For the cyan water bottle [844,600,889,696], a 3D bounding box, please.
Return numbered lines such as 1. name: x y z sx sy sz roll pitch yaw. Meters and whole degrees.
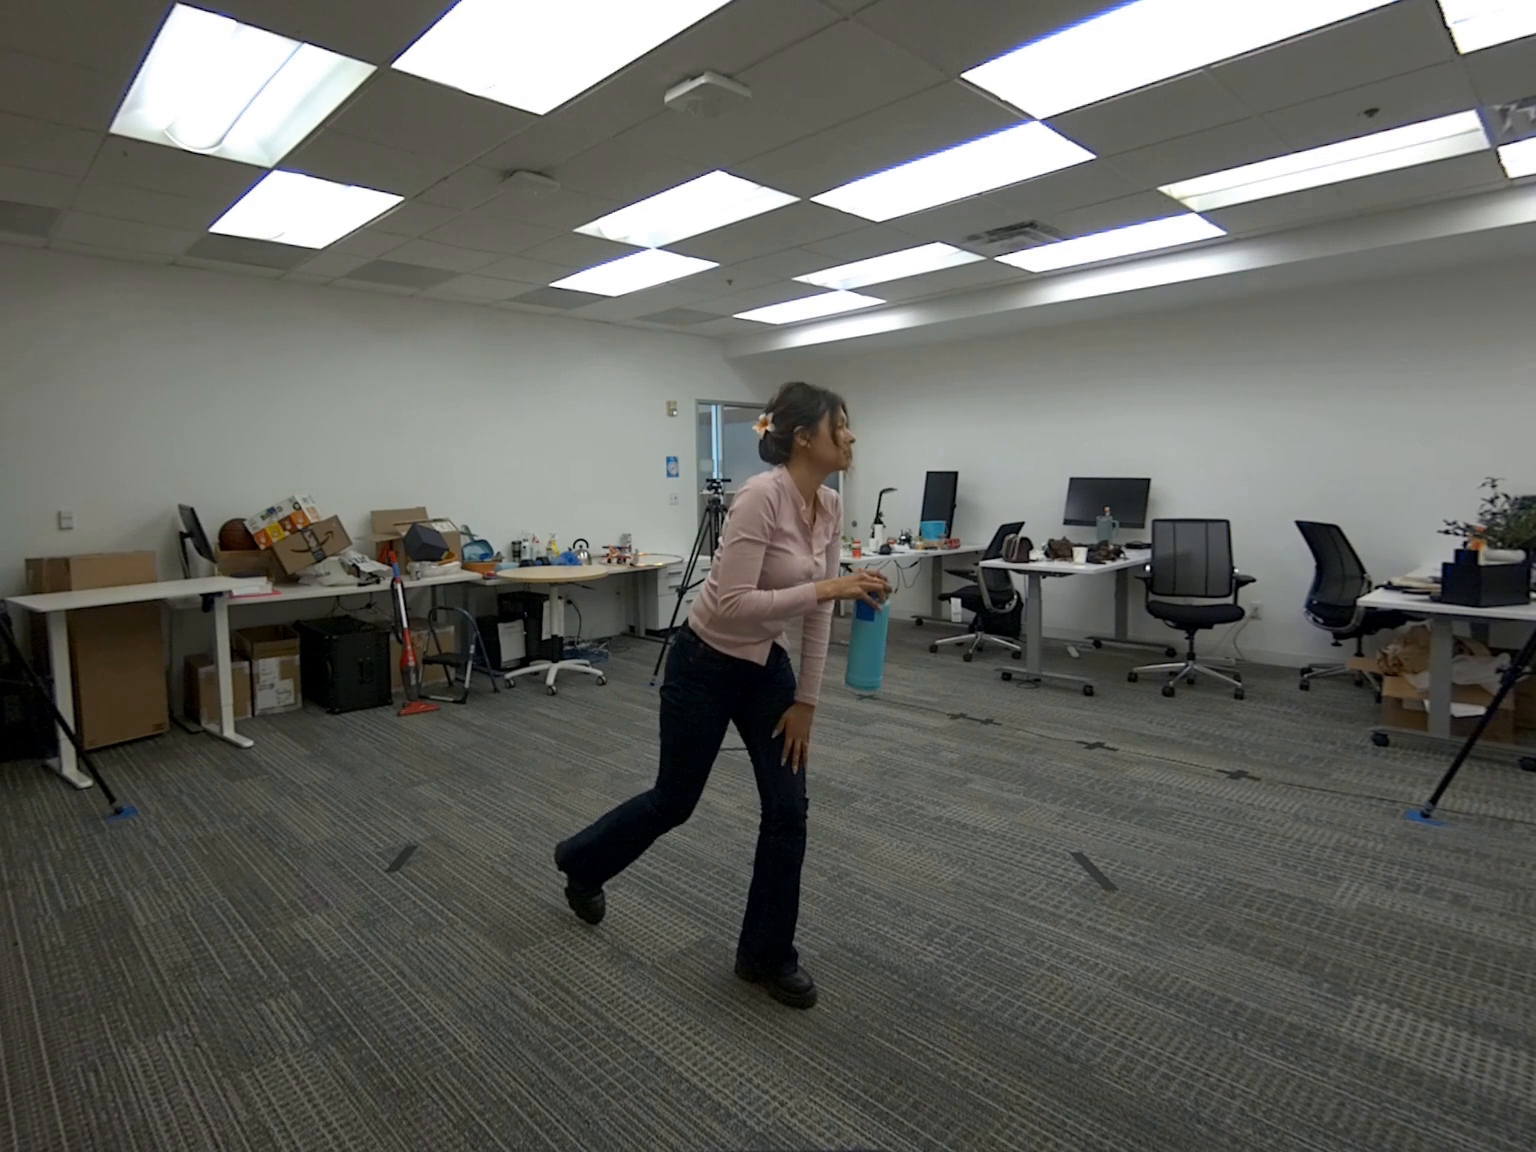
1. cyan water bottle: 0.251 0.139 2.109 0.092 0.282 0.093 5 6 -2
